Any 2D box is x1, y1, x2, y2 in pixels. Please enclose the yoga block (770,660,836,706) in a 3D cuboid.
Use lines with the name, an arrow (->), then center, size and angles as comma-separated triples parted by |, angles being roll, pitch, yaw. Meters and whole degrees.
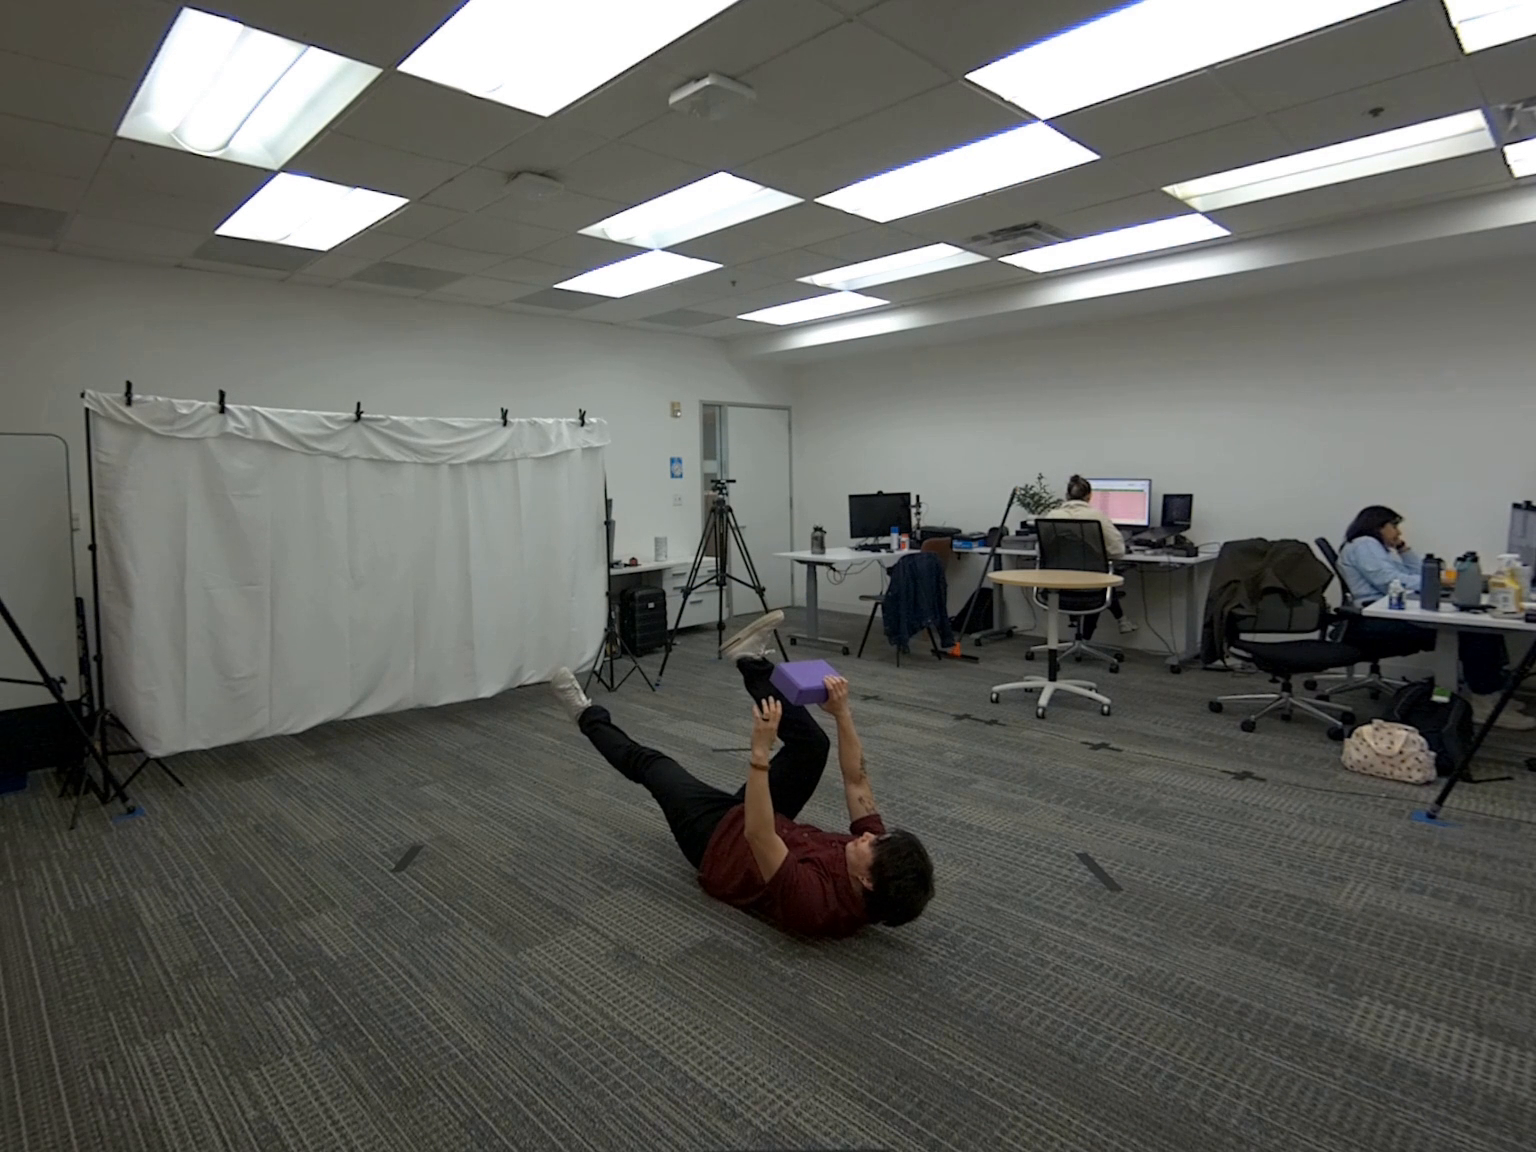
yoga block -> 0.133, 0.357, 2.879 | 0.223, 0.075, 0.155 | 0, 29, -41
